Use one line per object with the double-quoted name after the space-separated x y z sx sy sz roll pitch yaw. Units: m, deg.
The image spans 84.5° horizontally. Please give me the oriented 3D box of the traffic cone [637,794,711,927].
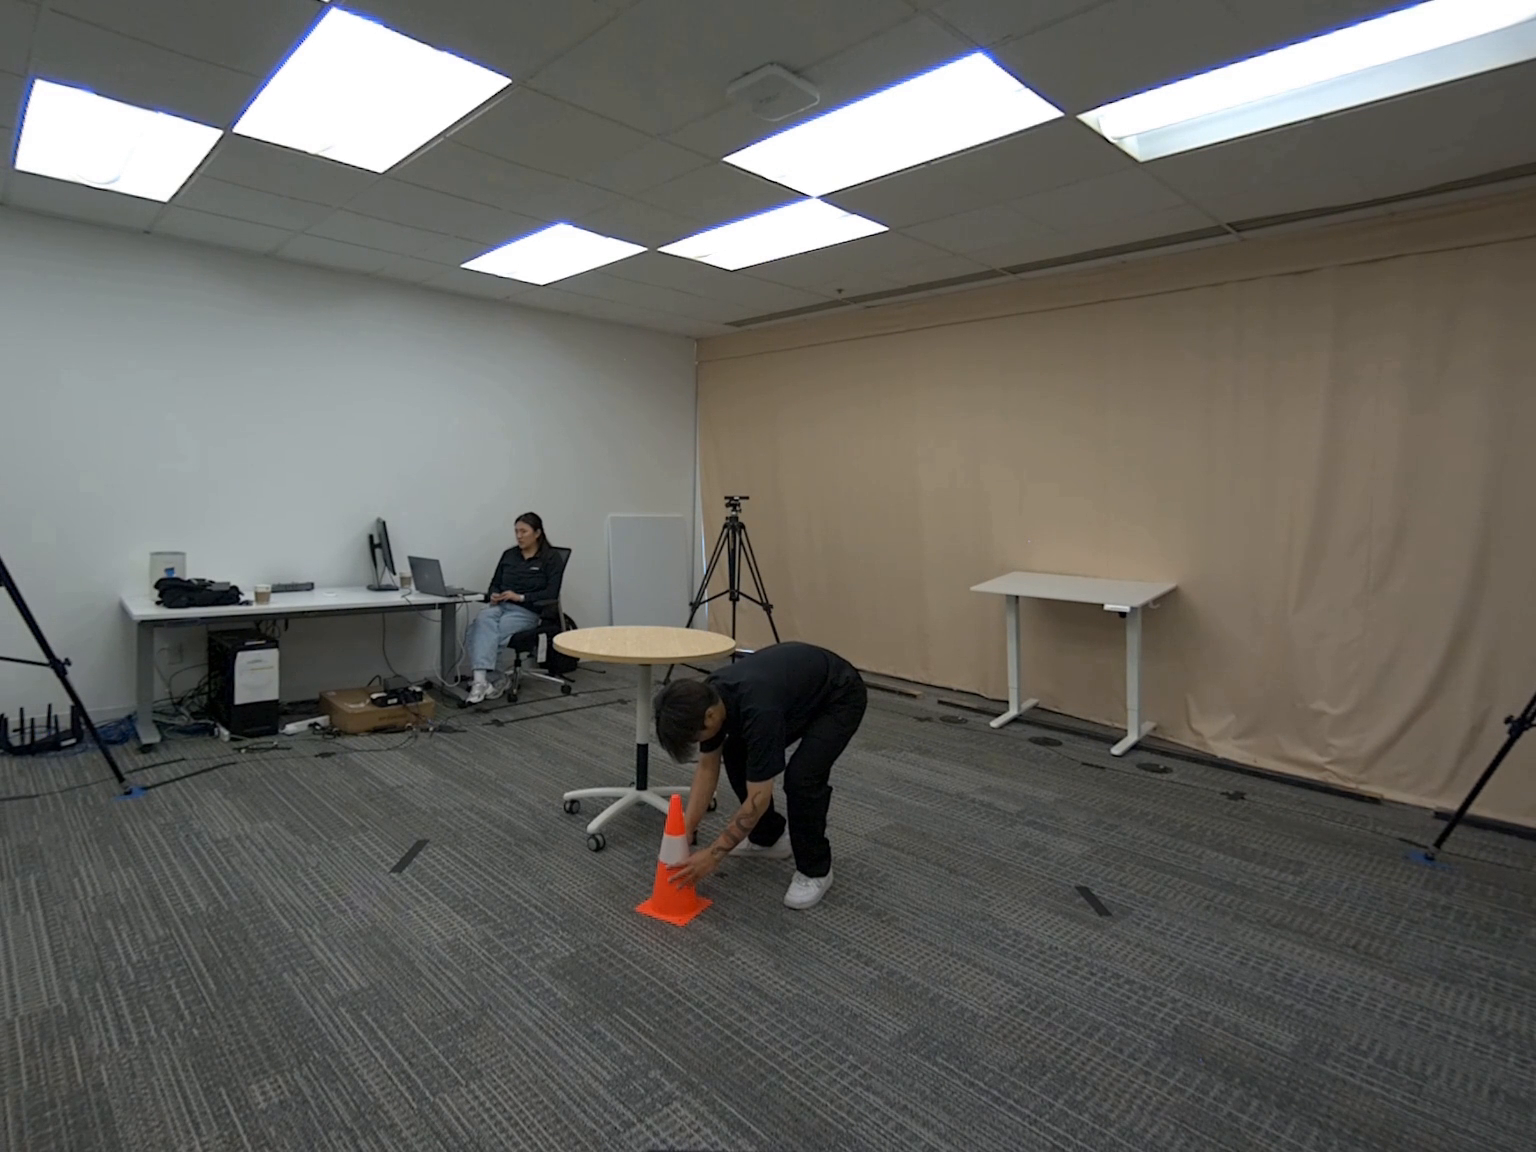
-0.311 0.940 2.866 0.207 0.383 0.201 4 2 27 "traffic cone"
